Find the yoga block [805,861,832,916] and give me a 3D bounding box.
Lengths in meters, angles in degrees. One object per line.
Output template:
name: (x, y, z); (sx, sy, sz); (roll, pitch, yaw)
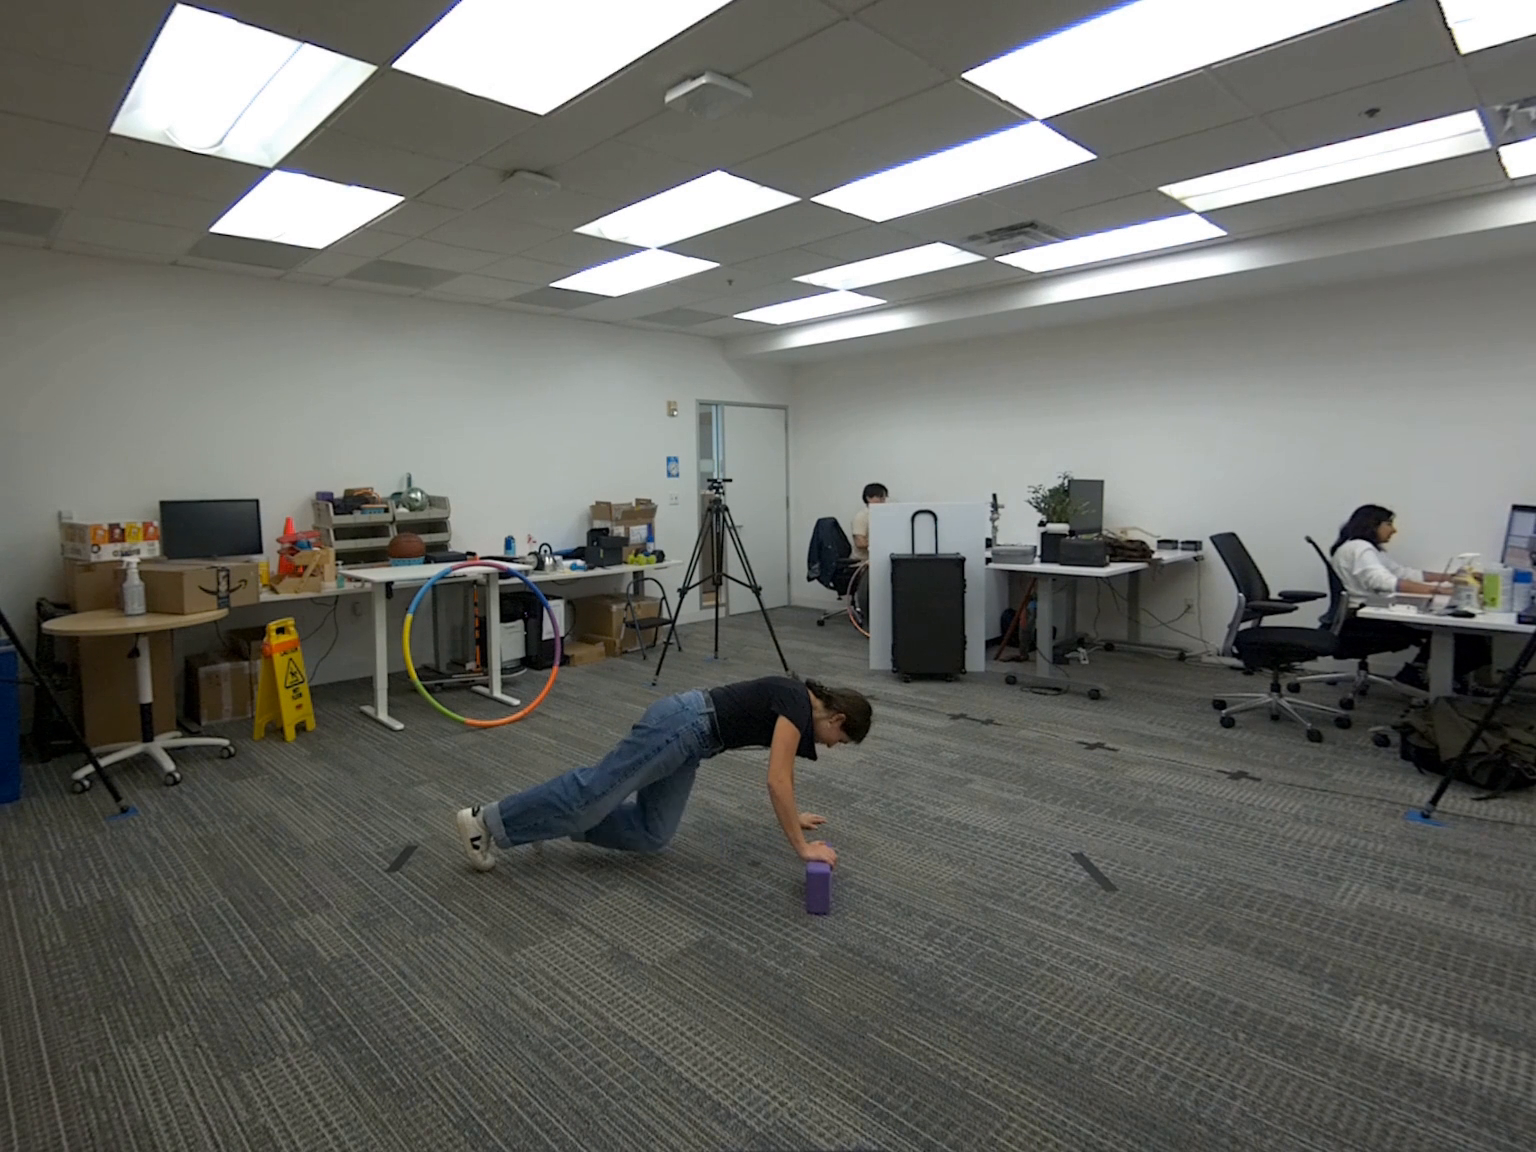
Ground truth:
yoga block: (0.171, 1.001, 2.844); (0.077, 0.148, 0.229); (-1, 4, 4)
